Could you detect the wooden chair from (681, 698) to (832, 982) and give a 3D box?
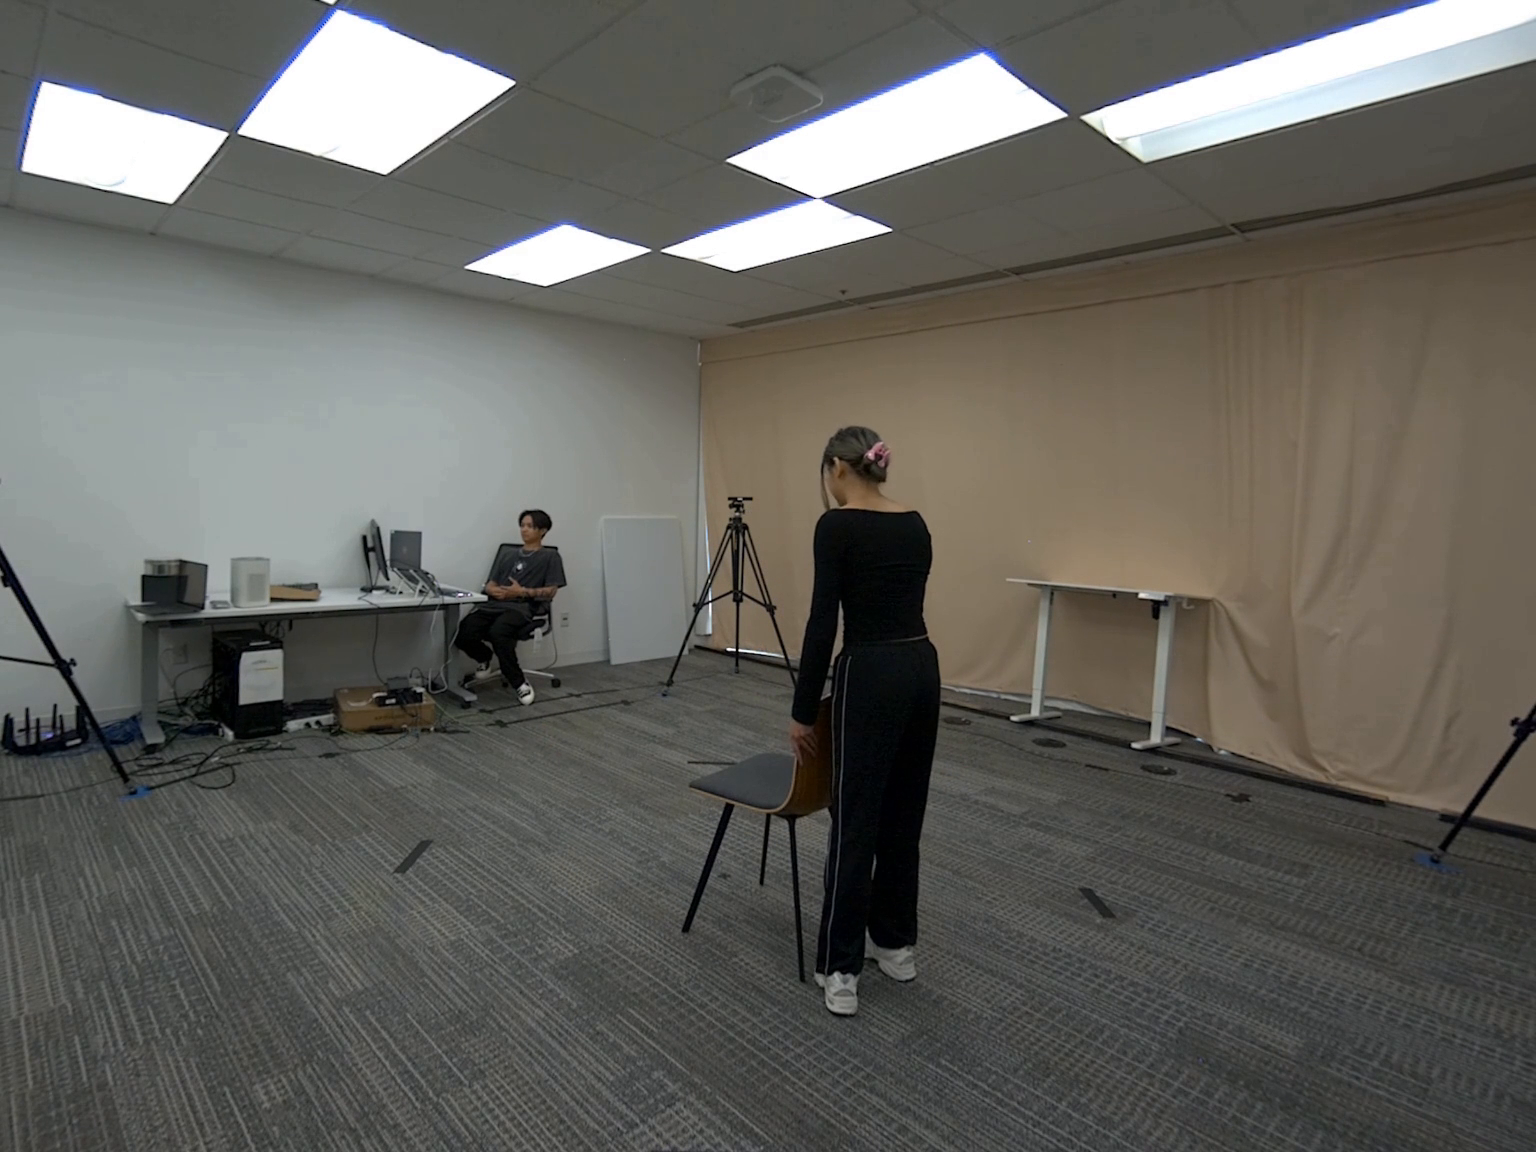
[{"bbox_3d":[0.035,0.720,2.718,0.537,0.873,0.468,10,8,35],"label":"wooden chair"}]
